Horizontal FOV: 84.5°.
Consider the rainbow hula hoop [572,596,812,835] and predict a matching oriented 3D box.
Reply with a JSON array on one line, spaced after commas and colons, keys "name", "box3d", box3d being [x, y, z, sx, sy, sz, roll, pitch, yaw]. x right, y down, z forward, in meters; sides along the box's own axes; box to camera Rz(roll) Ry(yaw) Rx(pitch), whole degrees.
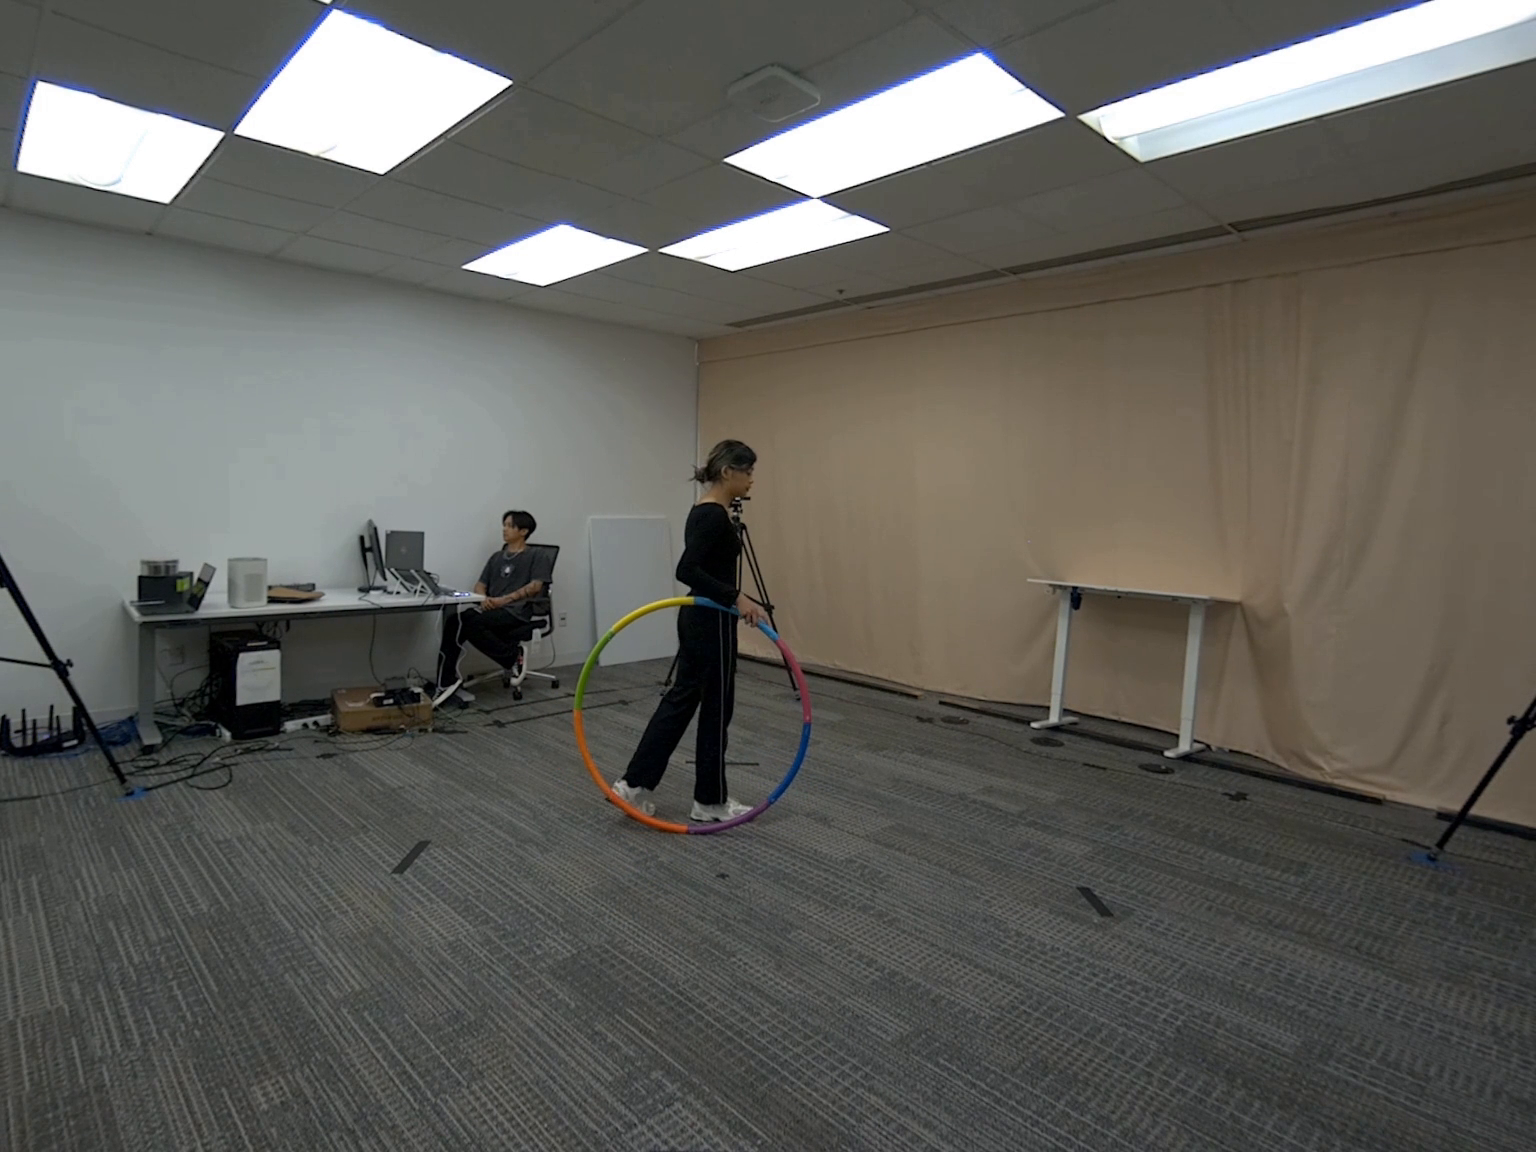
[{"name": "rainbow hula hoop", "box3d": [-0.327, 0.582, 3.470, 0.983, 0.975, 0.035, 2, 4, 6]}]
